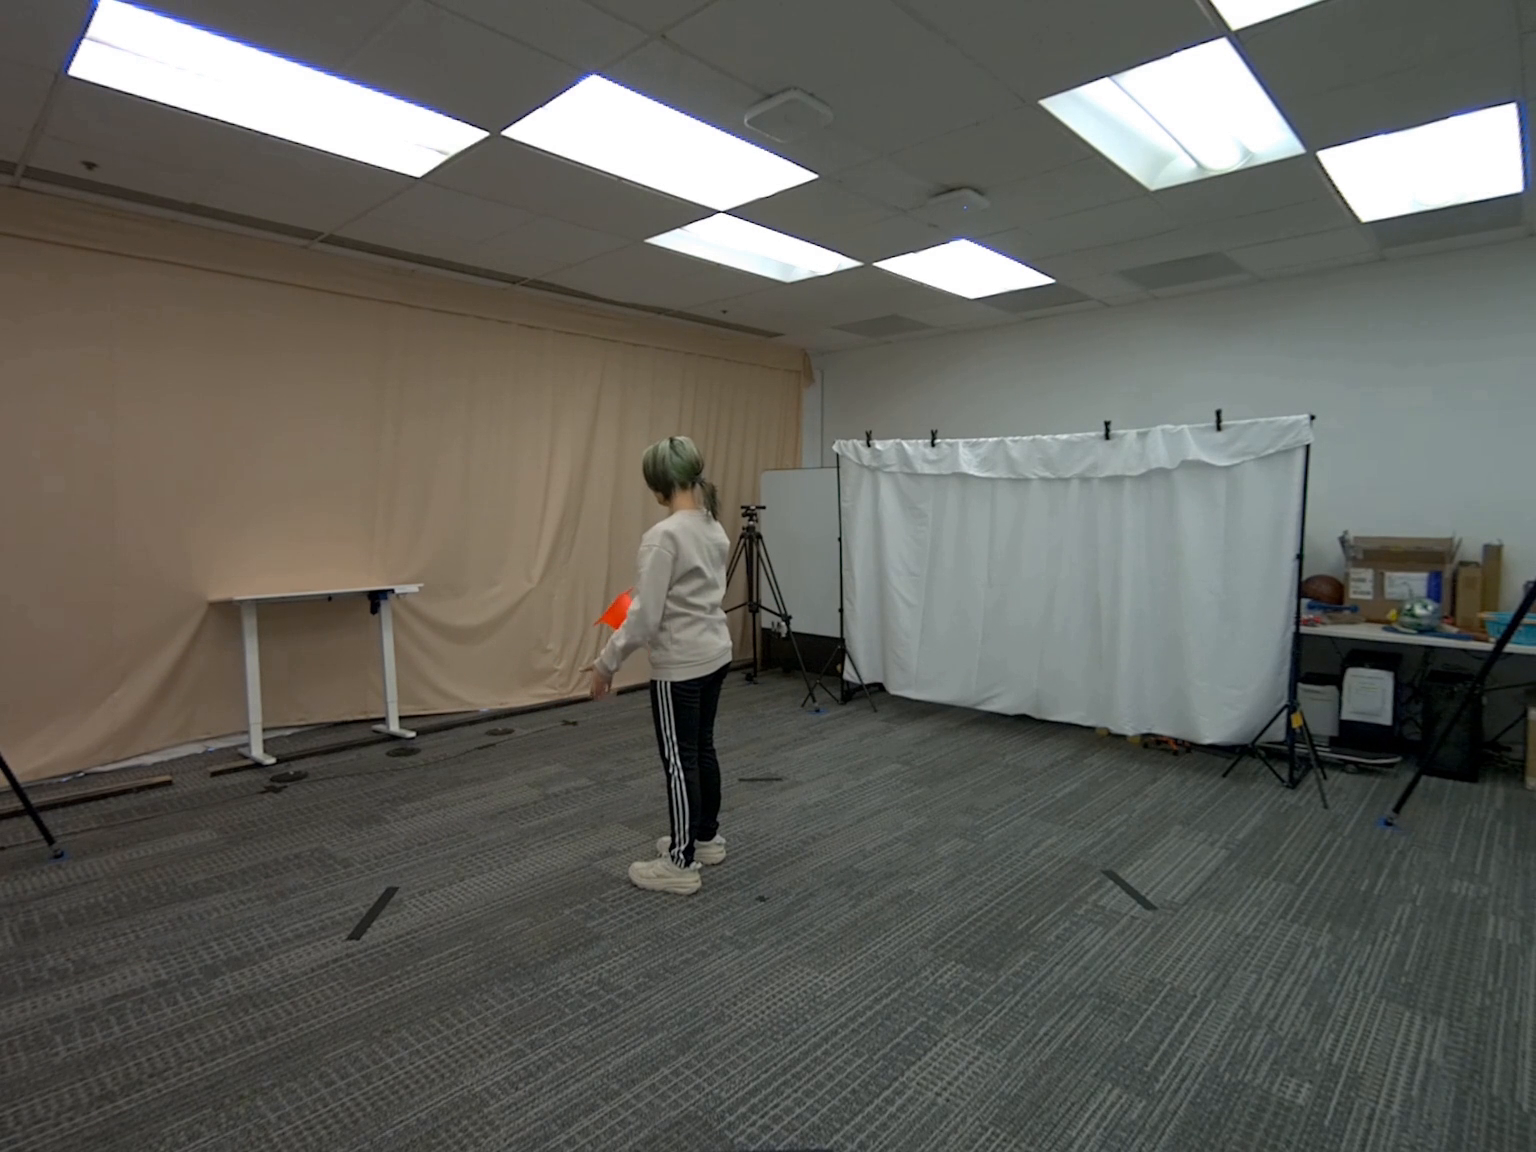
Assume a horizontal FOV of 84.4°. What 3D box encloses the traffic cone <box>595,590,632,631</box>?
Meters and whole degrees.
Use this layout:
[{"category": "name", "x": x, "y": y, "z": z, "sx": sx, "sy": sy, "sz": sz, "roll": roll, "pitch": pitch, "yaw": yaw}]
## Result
[{"category": "traffic cone", "x": -0.517, "y": 0.257, "z": 3.609, "sx": 0.384, "sy": 0.205, "sz": 0.202, "roll": 41, "pitch": 14, "yaw": 1}]
